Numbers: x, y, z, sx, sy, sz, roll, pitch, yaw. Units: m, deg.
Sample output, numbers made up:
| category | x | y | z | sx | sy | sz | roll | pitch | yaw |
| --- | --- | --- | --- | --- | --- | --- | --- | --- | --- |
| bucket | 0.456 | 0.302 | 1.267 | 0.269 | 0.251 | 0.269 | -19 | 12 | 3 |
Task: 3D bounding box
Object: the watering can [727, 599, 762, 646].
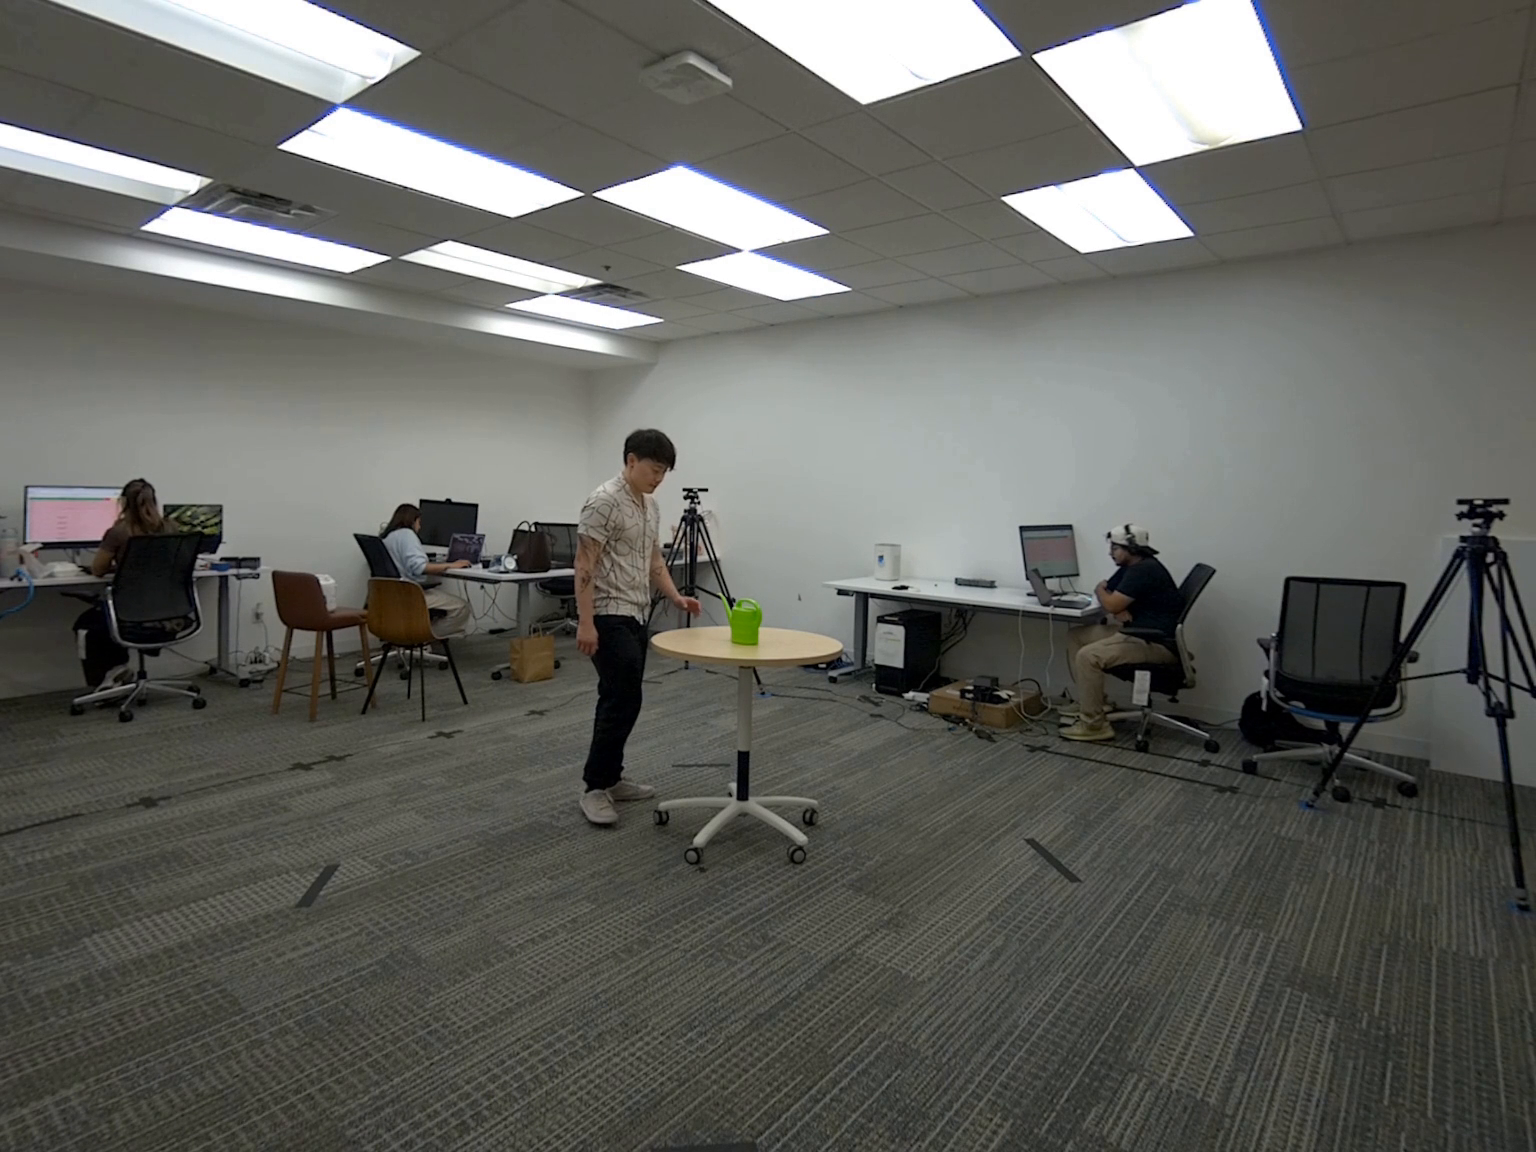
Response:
| category | x | y | z | sx | sy | sz | roll | pitch | yaw |
| --- | --- | --- | --- | --- | --- | --- | --- | --- | --- |
| watering can | -0.119 | 0.167 | 3.414 | 0.096 | 0.176 | 0.285 | 0 | 6 | -20 |
